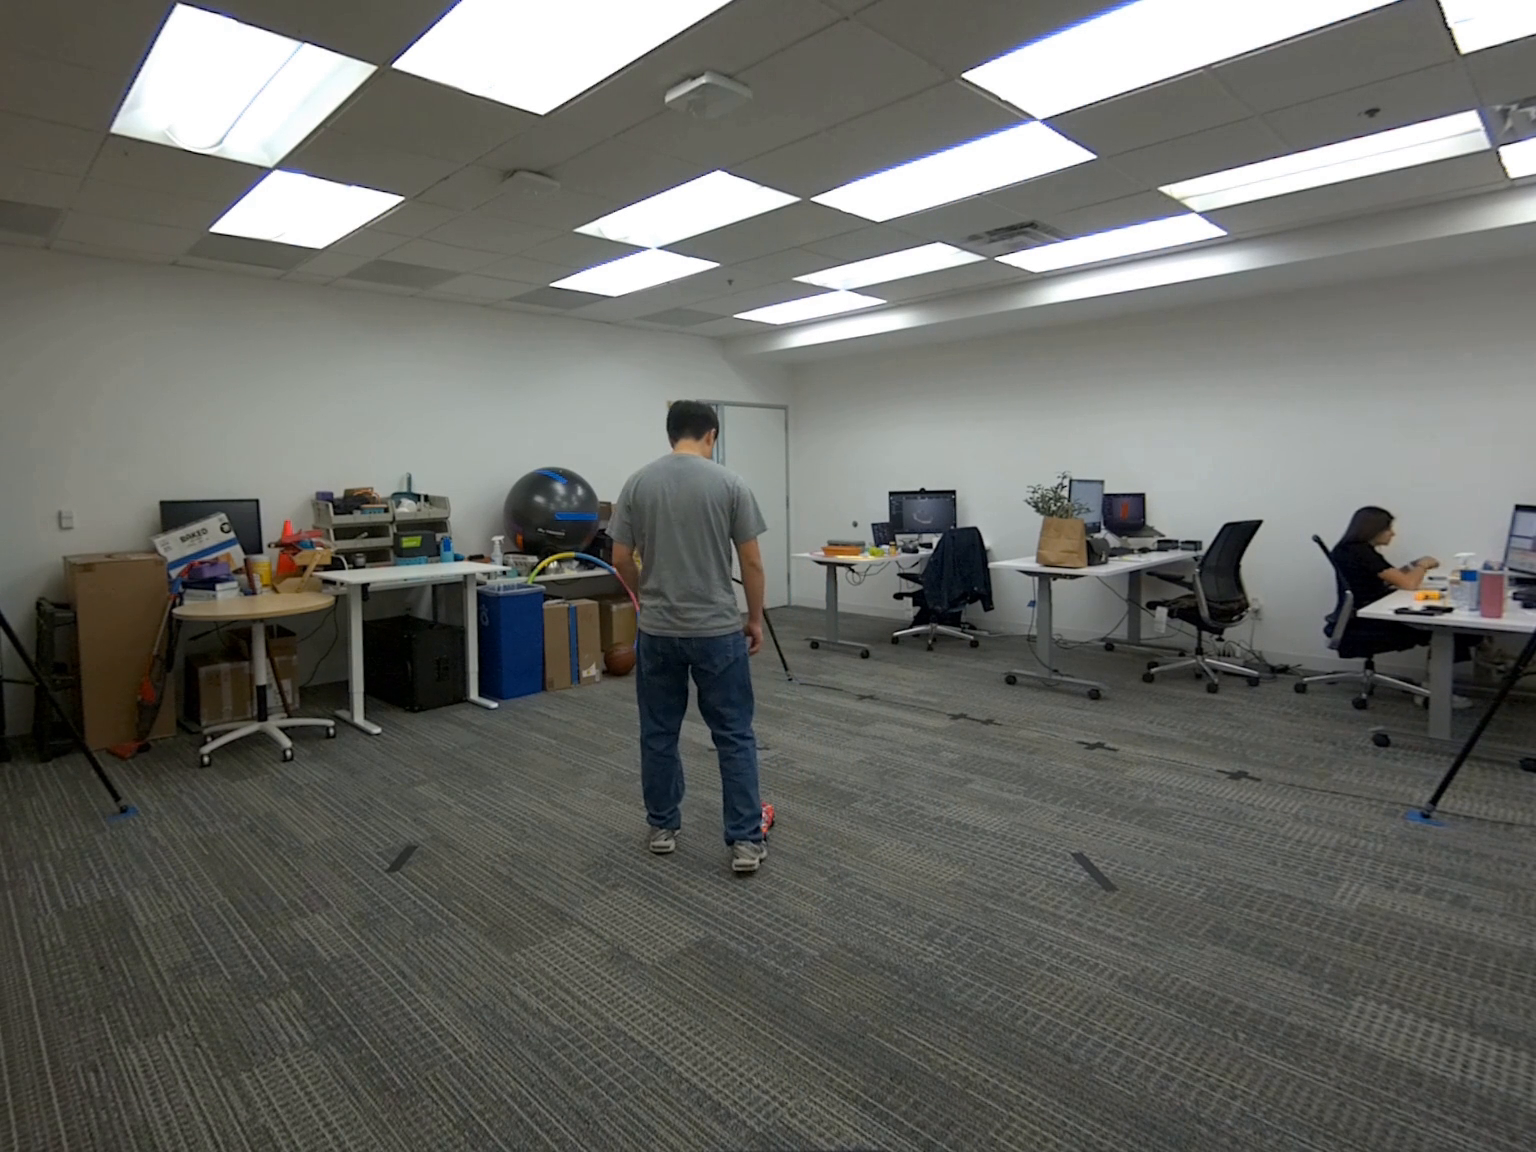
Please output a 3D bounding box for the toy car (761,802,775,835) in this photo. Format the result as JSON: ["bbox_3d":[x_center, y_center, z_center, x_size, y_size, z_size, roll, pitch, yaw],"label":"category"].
[{"bbox_3d":[-0.034,0.980,3.407,0.132,0.082,0.256,-2,18,11],"label":"toy car"}]
